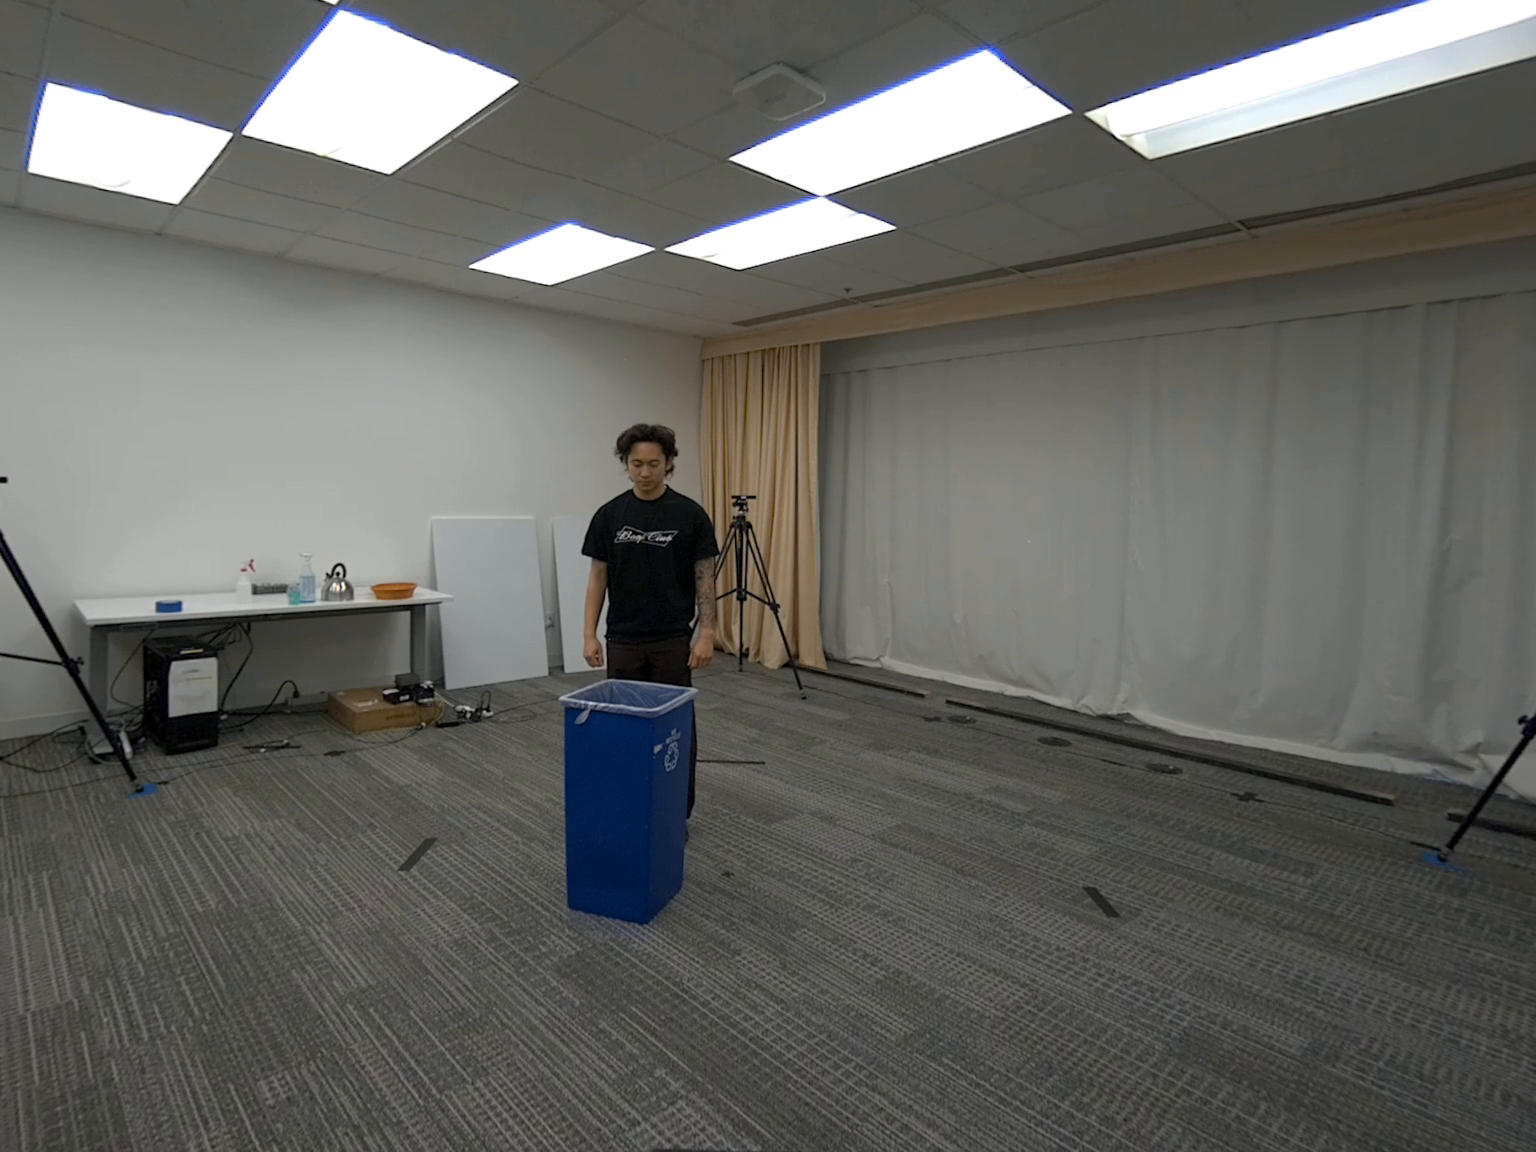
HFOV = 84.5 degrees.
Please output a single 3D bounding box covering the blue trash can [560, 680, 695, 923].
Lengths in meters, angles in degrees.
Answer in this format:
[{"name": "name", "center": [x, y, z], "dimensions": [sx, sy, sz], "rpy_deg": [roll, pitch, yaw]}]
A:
[{"name": "blue trash can", "center": [-0.493, 0.756, 2.901], "dimensions": [0.384, 0.712, 0.369], "rpy_deg": [3, 4, 20]}]
